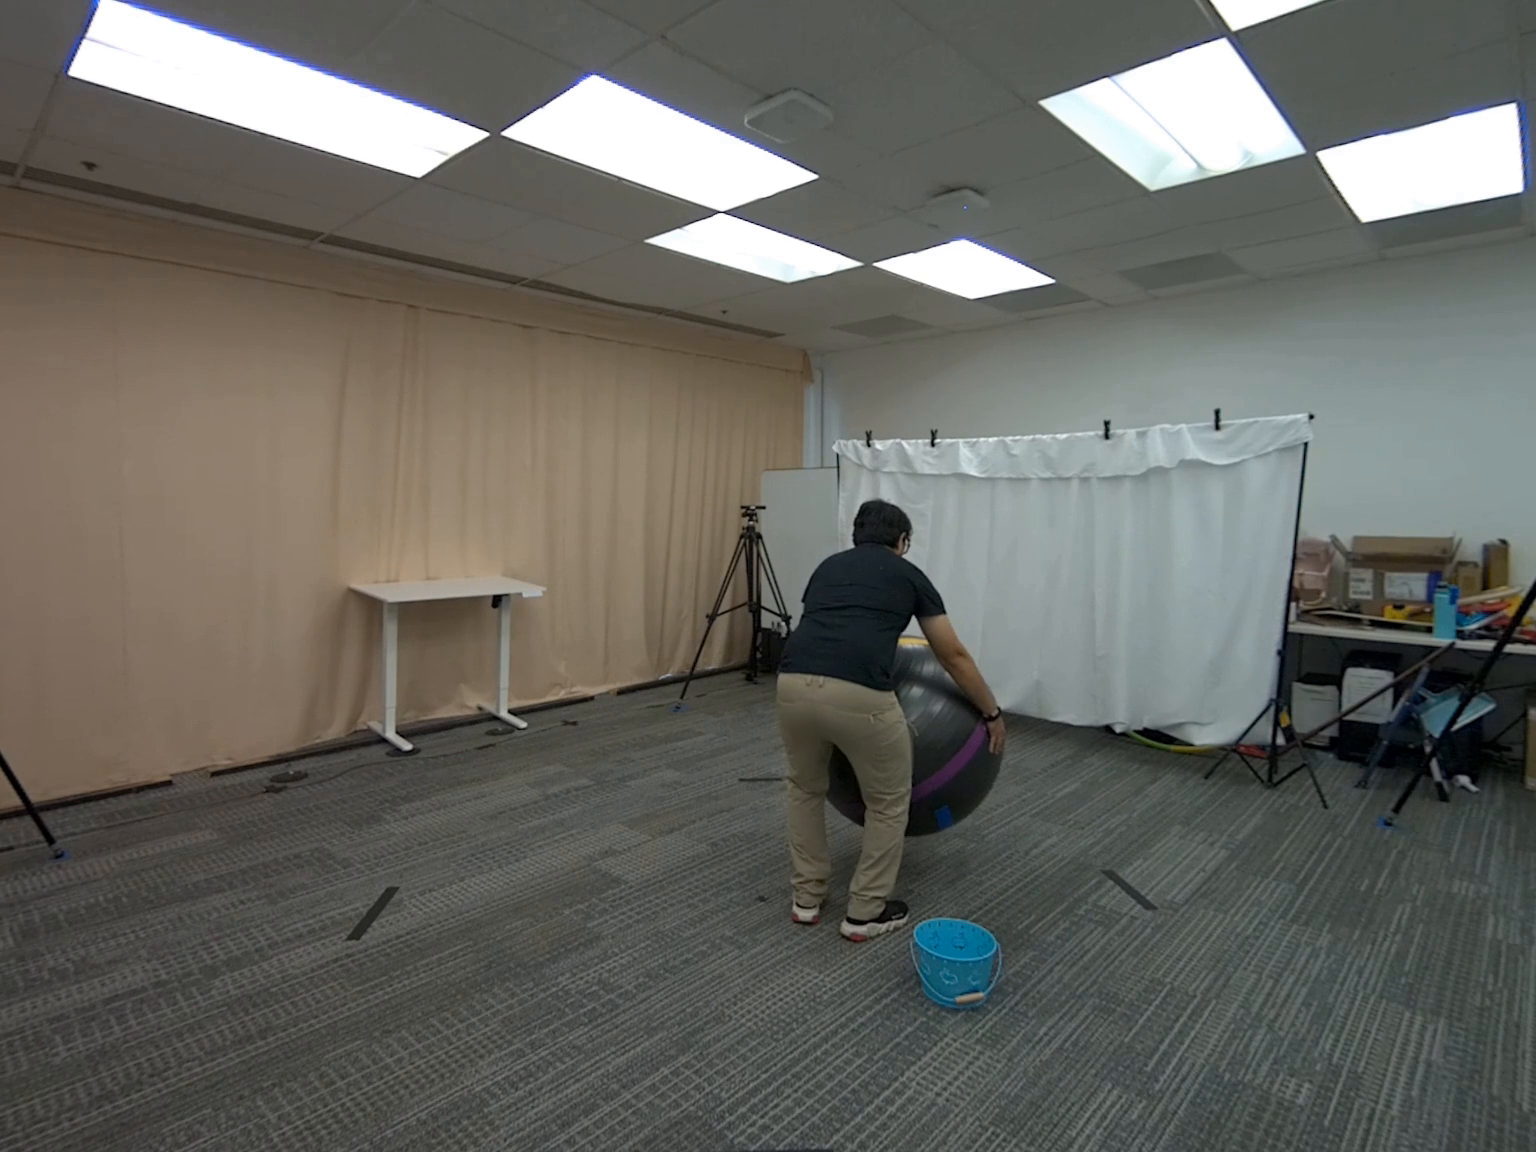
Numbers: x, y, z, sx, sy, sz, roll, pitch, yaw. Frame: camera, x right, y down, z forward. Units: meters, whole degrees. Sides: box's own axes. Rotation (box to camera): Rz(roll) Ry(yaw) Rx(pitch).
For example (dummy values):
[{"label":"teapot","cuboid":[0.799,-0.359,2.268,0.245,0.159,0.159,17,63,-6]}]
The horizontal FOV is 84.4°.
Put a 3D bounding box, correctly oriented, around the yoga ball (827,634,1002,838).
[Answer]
[{"label":"yoga ball","cuboid":[0.517,0.604,3.243,0.757,0.756,0.760,0,4,-2]}]
